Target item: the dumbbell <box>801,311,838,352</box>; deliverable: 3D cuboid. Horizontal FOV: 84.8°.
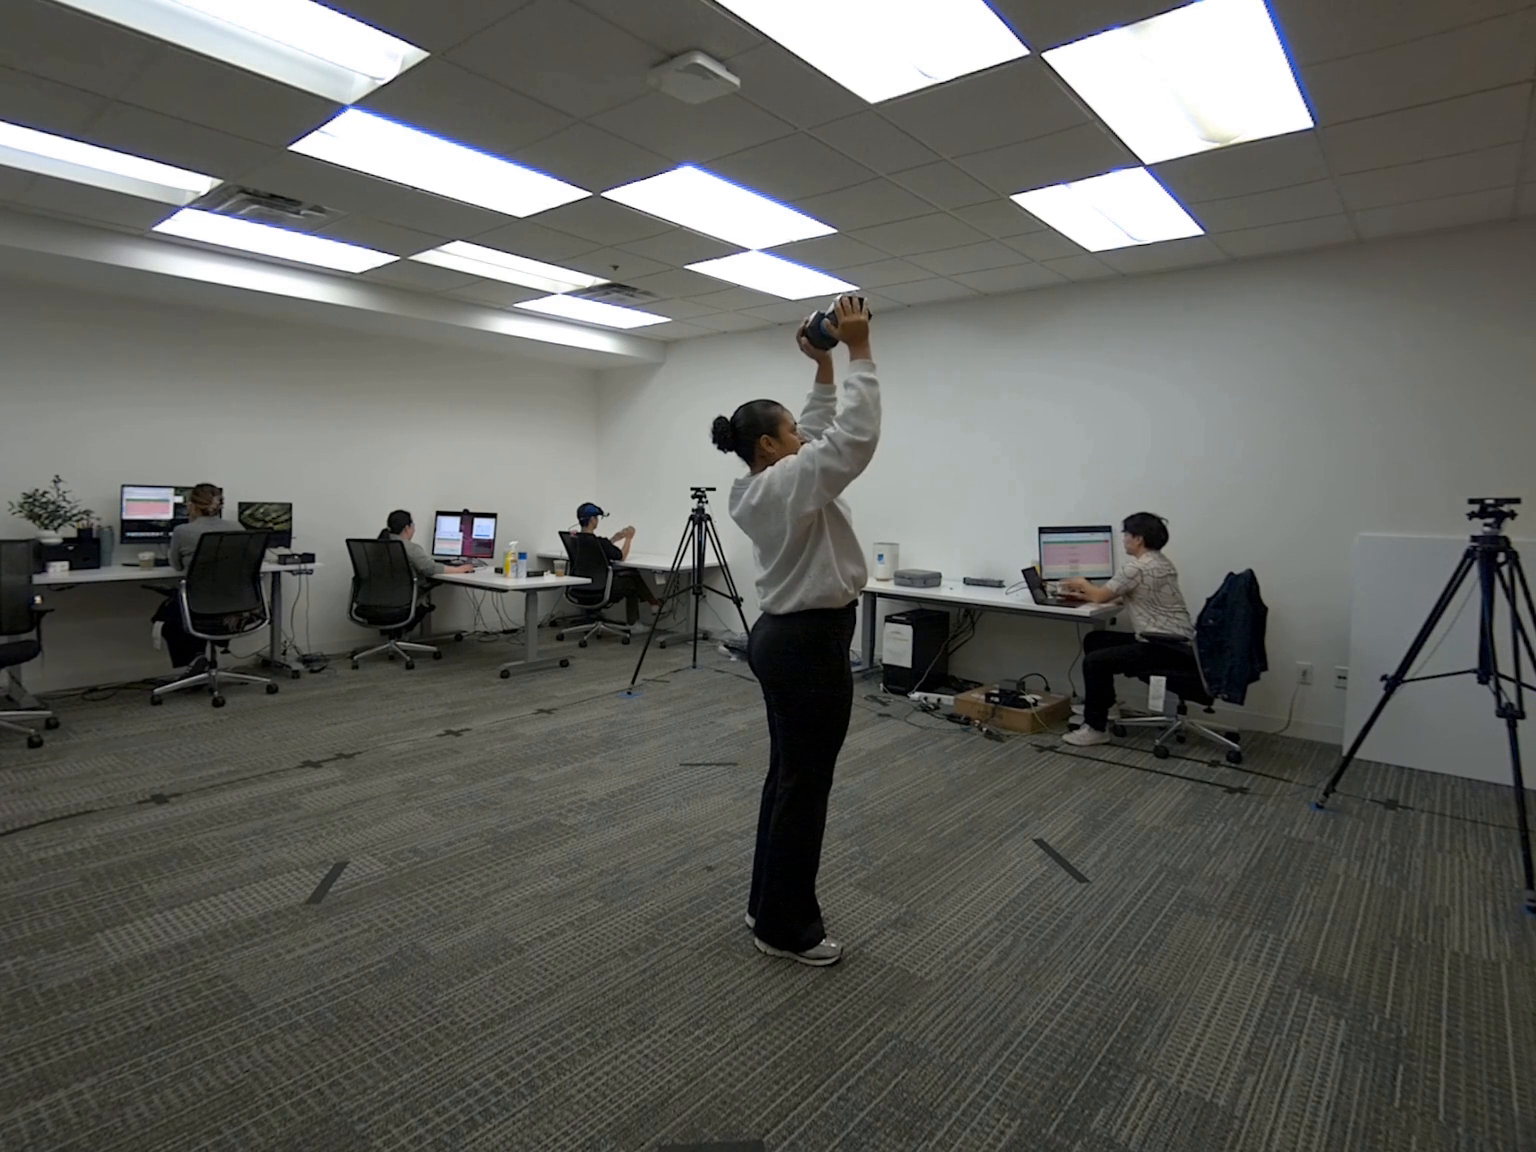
[{"bbox_3d":[0.186,-0.741,2.510,0.107,0.123,0.298,37,-5,-14],"label":"dumbbell"}]
